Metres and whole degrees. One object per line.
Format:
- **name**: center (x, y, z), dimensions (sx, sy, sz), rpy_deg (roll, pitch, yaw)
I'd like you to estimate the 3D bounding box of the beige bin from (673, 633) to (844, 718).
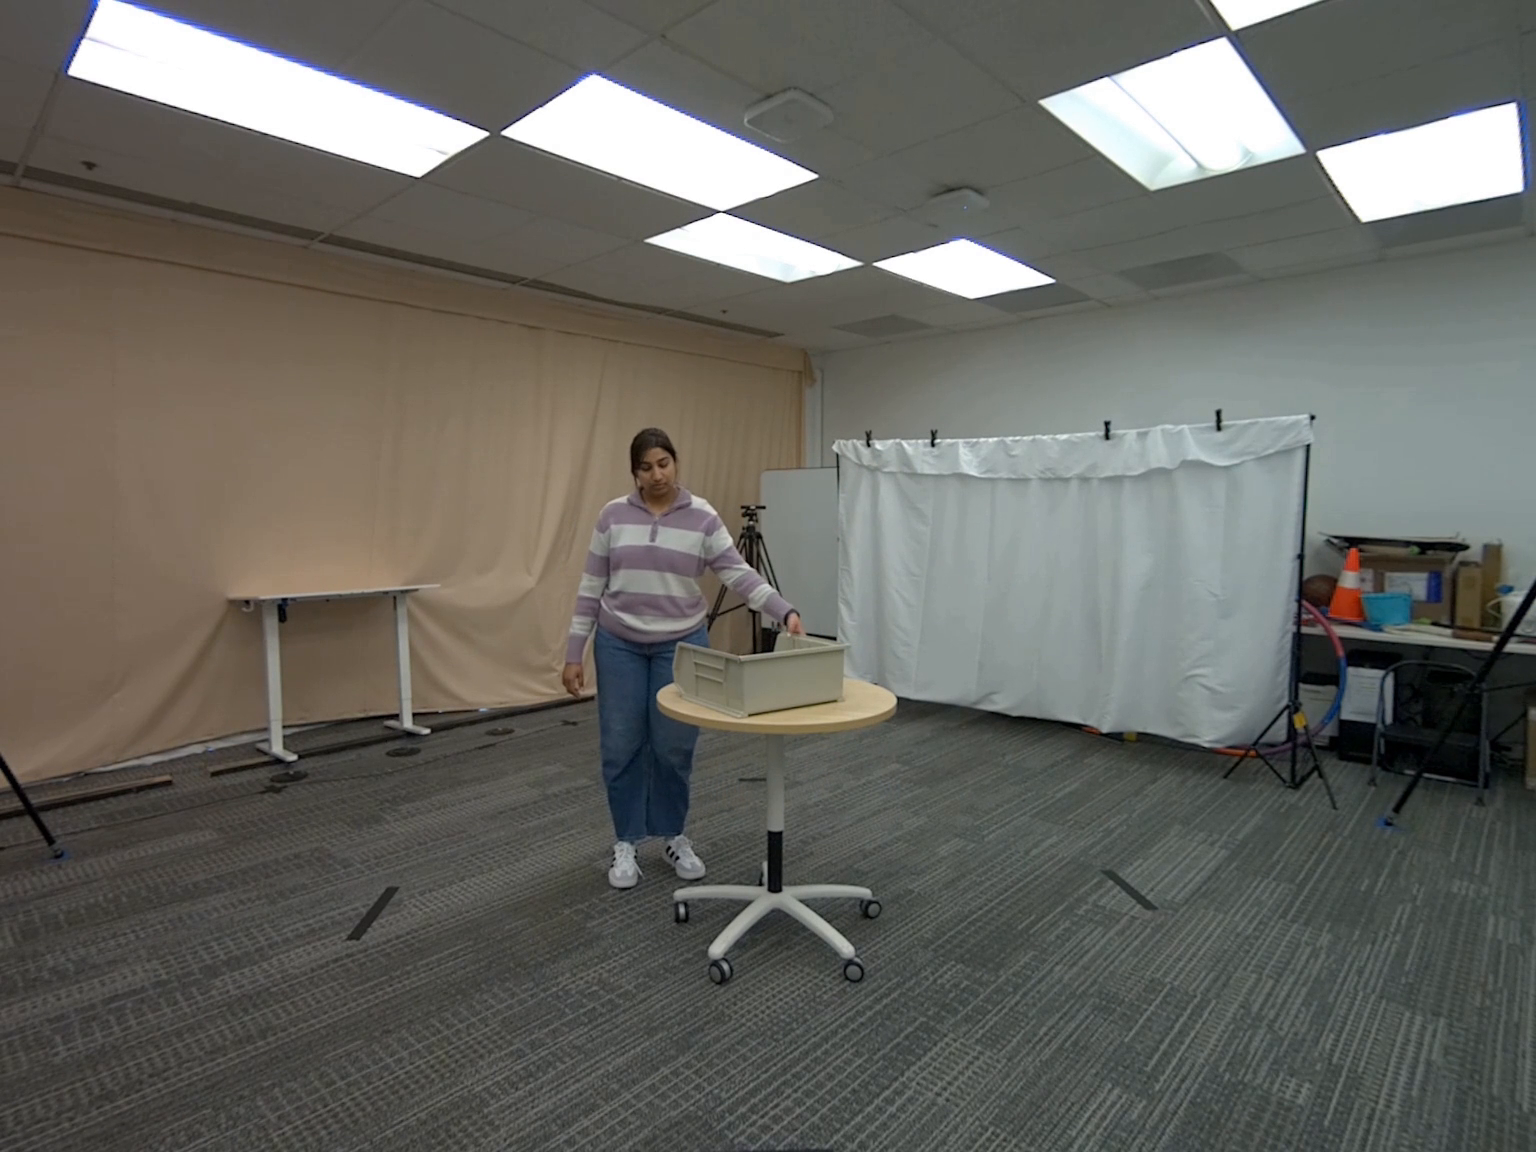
- **beige bin**: center (-0.023, 0.299, 2.642), dimensions (0.410, 0.188, 0.389), rpy_deg (-3, 7, -35)
